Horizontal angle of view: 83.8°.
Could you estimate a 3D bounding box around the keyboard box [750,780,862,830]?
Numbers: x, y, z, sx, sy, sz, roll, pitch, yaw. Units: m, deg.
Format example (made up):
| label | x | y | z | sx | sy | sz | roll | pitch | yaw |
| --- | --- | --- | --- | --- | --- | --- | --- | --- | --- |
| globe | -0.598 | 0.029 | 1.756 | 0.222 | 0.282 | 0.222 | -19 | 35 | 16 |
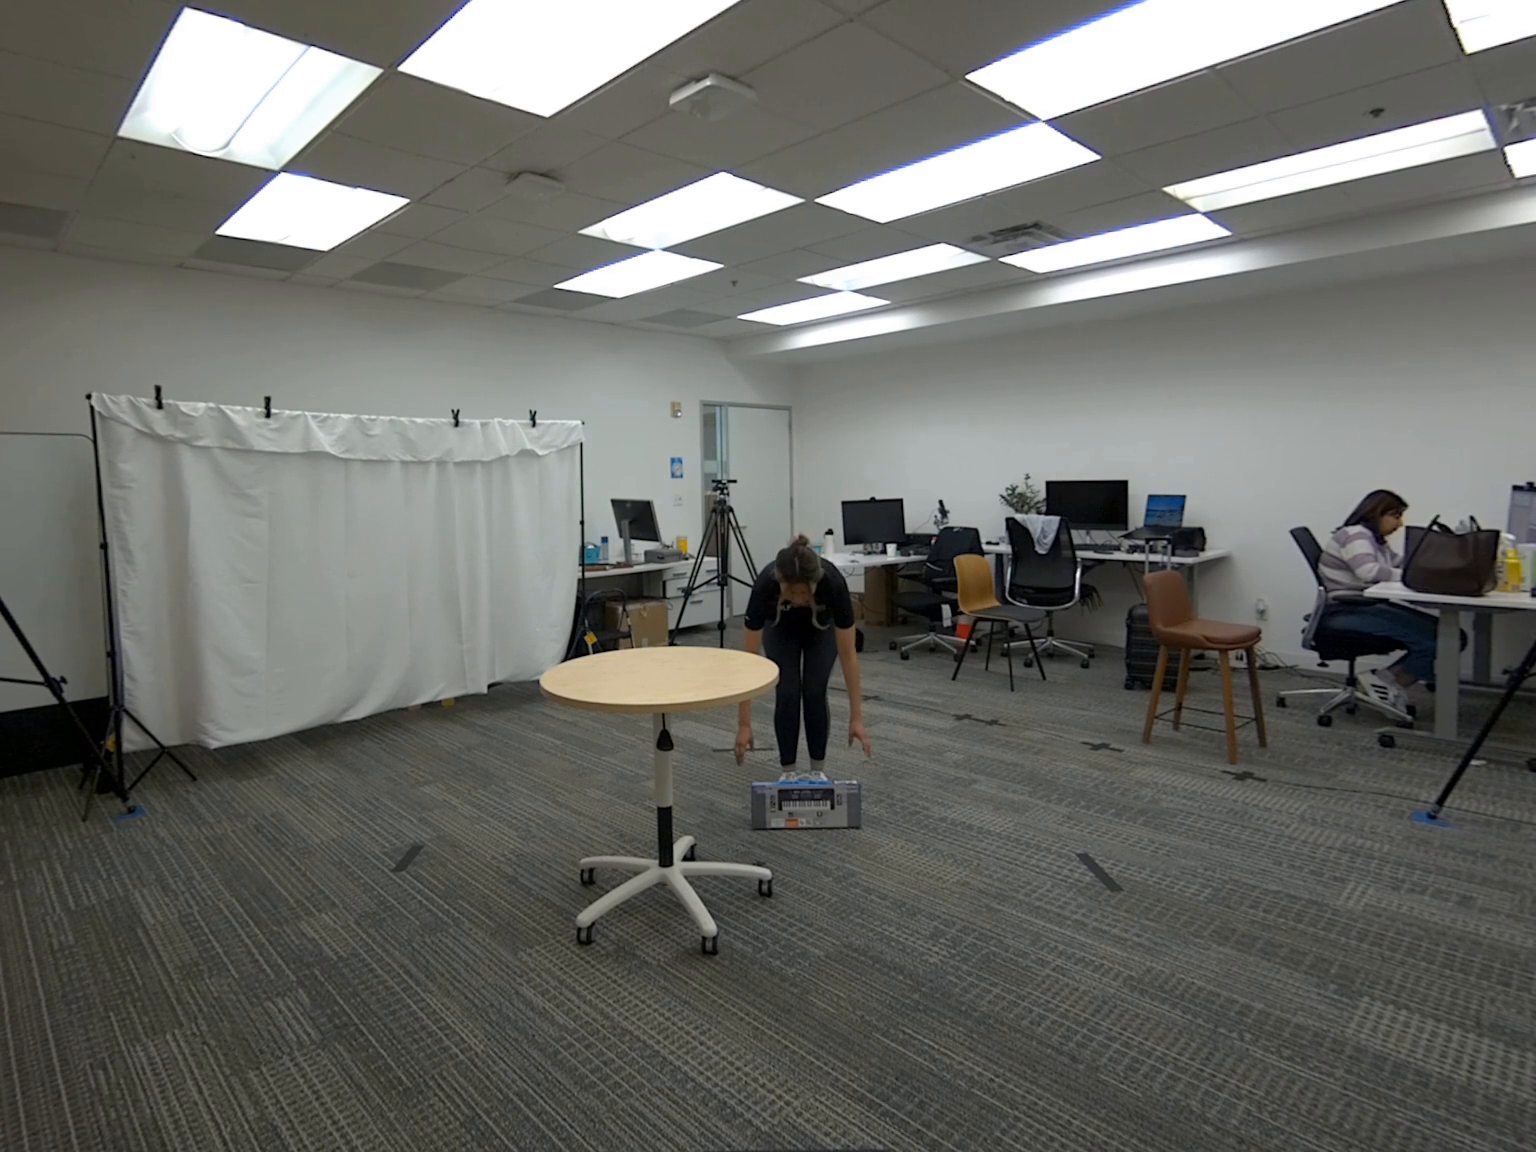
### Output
| label | x | y | z | sx | sy | sz | roll | pitch | yaw |
| --- | --- | --- | --- | --- | --- | --- | --- | --- | --- |
| keyboard box | 0.155 | 0.919 | 3.437 | 0.436 | 0.176 | 0.059 | -2 | -2 | 0 |
